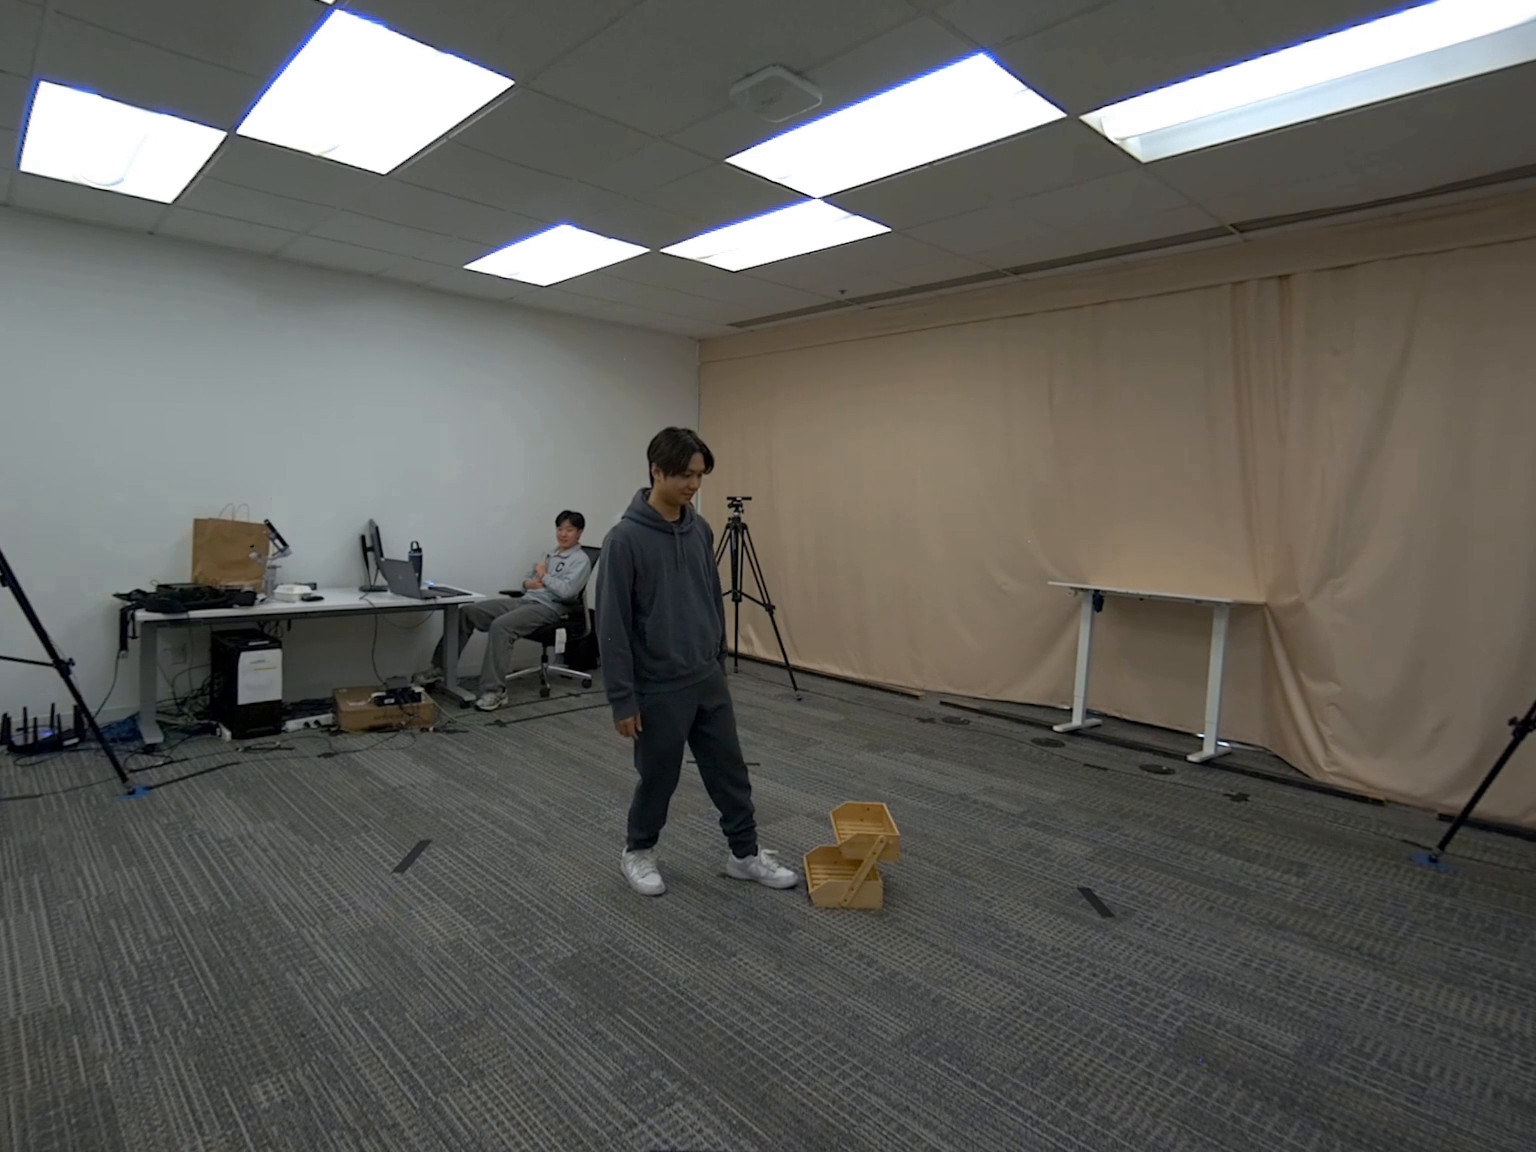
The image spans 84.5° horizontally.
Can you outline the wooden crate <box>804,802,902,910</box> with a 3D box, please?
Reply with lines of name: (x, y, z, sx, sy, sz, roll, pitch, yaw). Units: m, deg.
wooden crate: (0.277, 0.987, 3.021, 0.302, 0.272, 0.326, 2, 4, -2)
